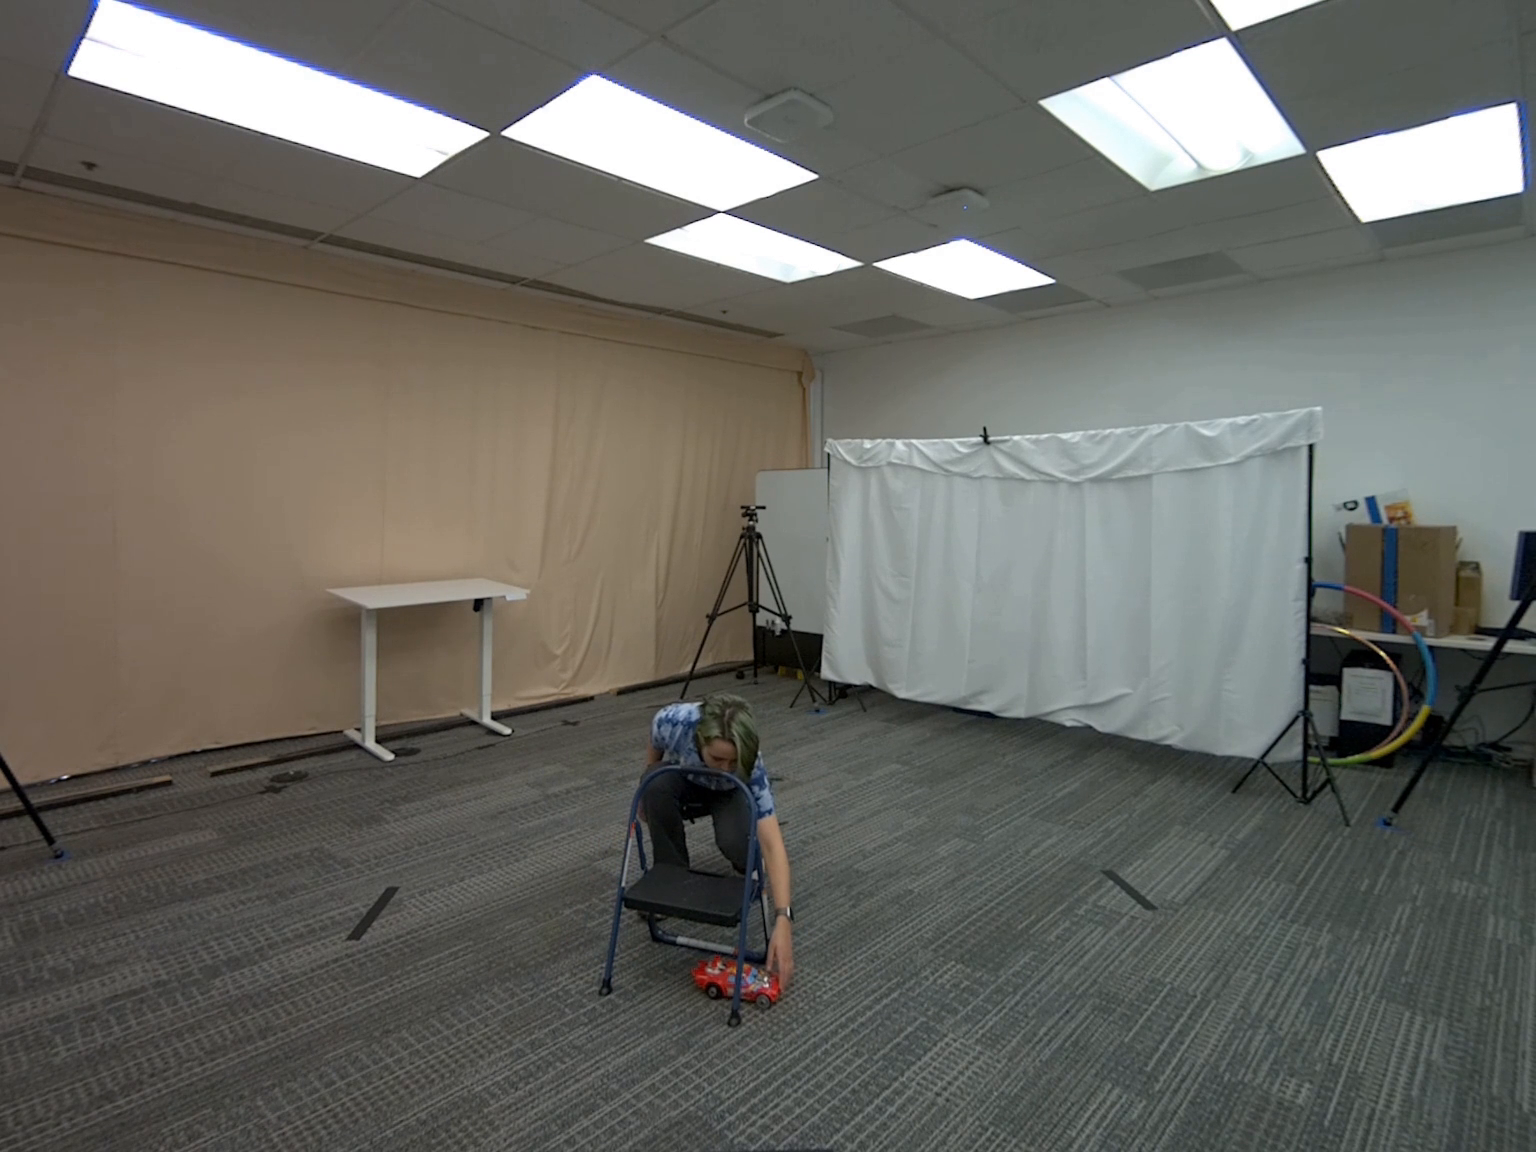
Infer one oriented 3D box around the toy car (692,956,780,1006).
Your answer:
[{"bbox_3d":[-0.097,1.163,2.410,0.260,0.083,0.128,14,9,18],"label":"toy car"}]
